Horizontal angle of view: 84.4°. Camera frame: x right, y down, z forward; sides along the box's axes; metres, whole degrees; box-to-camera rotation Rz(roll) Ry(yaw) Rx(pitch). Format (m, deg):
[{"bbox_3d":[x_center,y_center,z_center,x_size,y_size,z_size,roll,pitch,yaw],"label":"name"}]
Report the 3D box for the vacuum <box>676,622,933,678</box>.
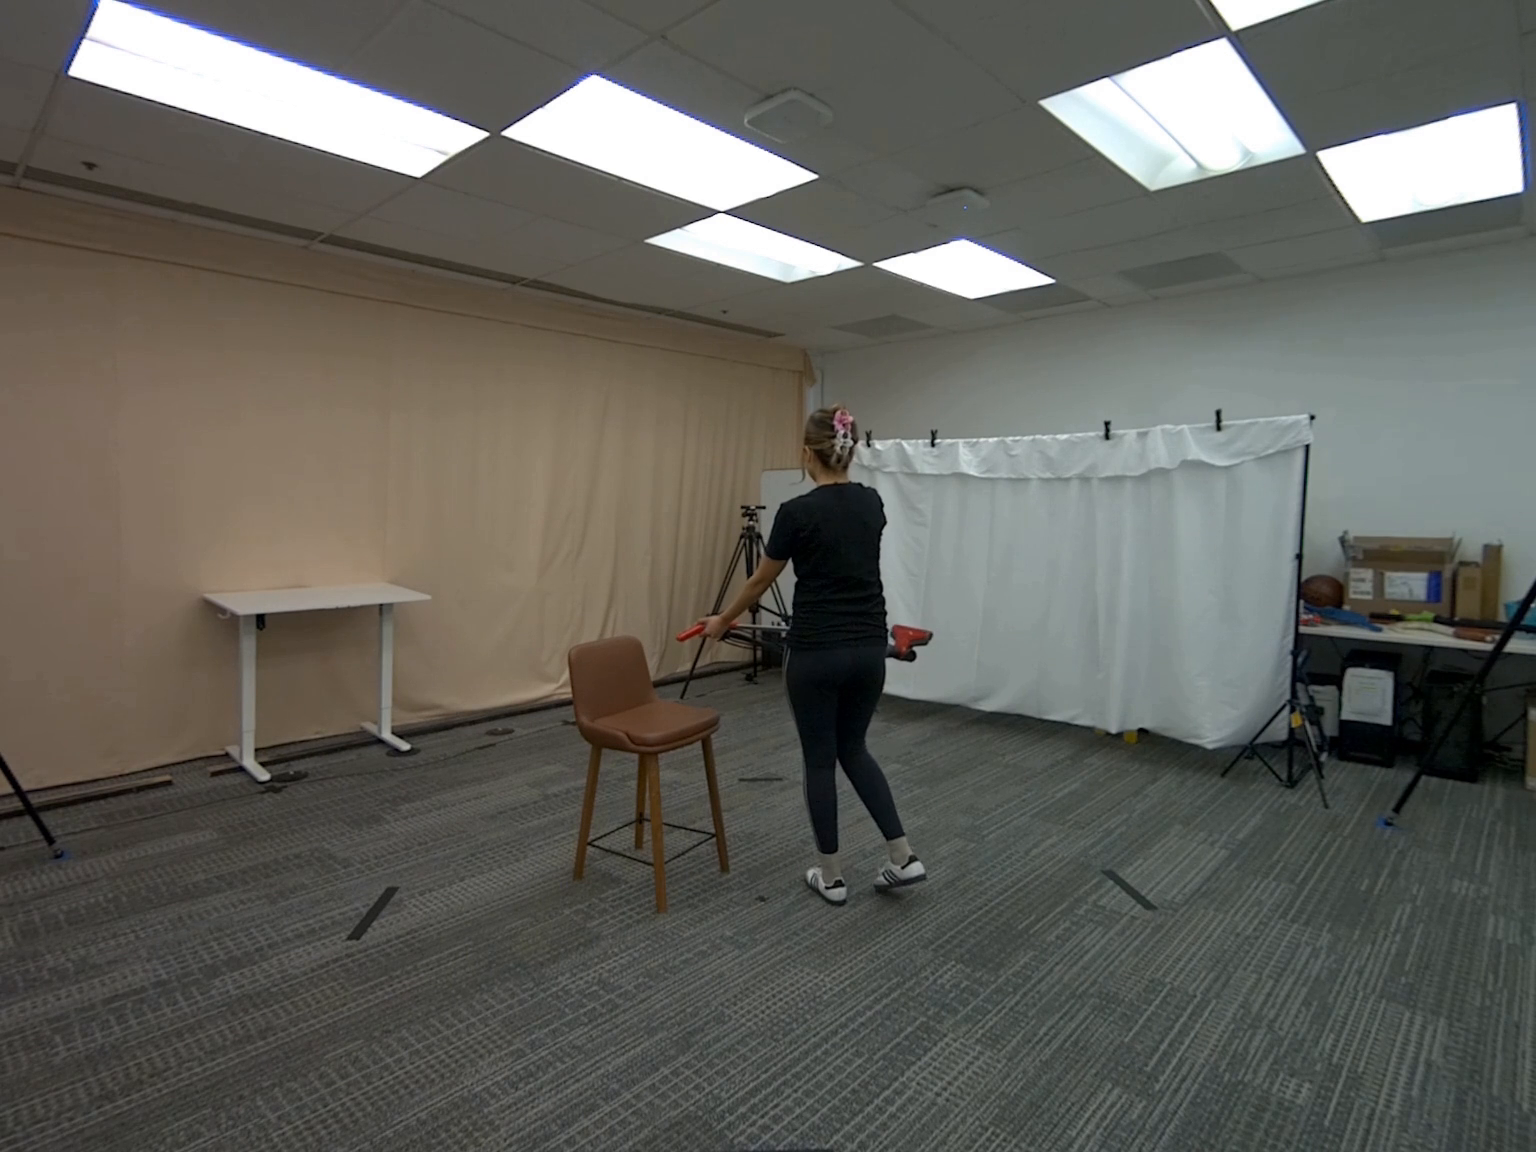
[{"bbox_3d":[0.146,0.269,3.319,1.024,0.144,0.259,3,5,-24],"label":"vacuum"}]
